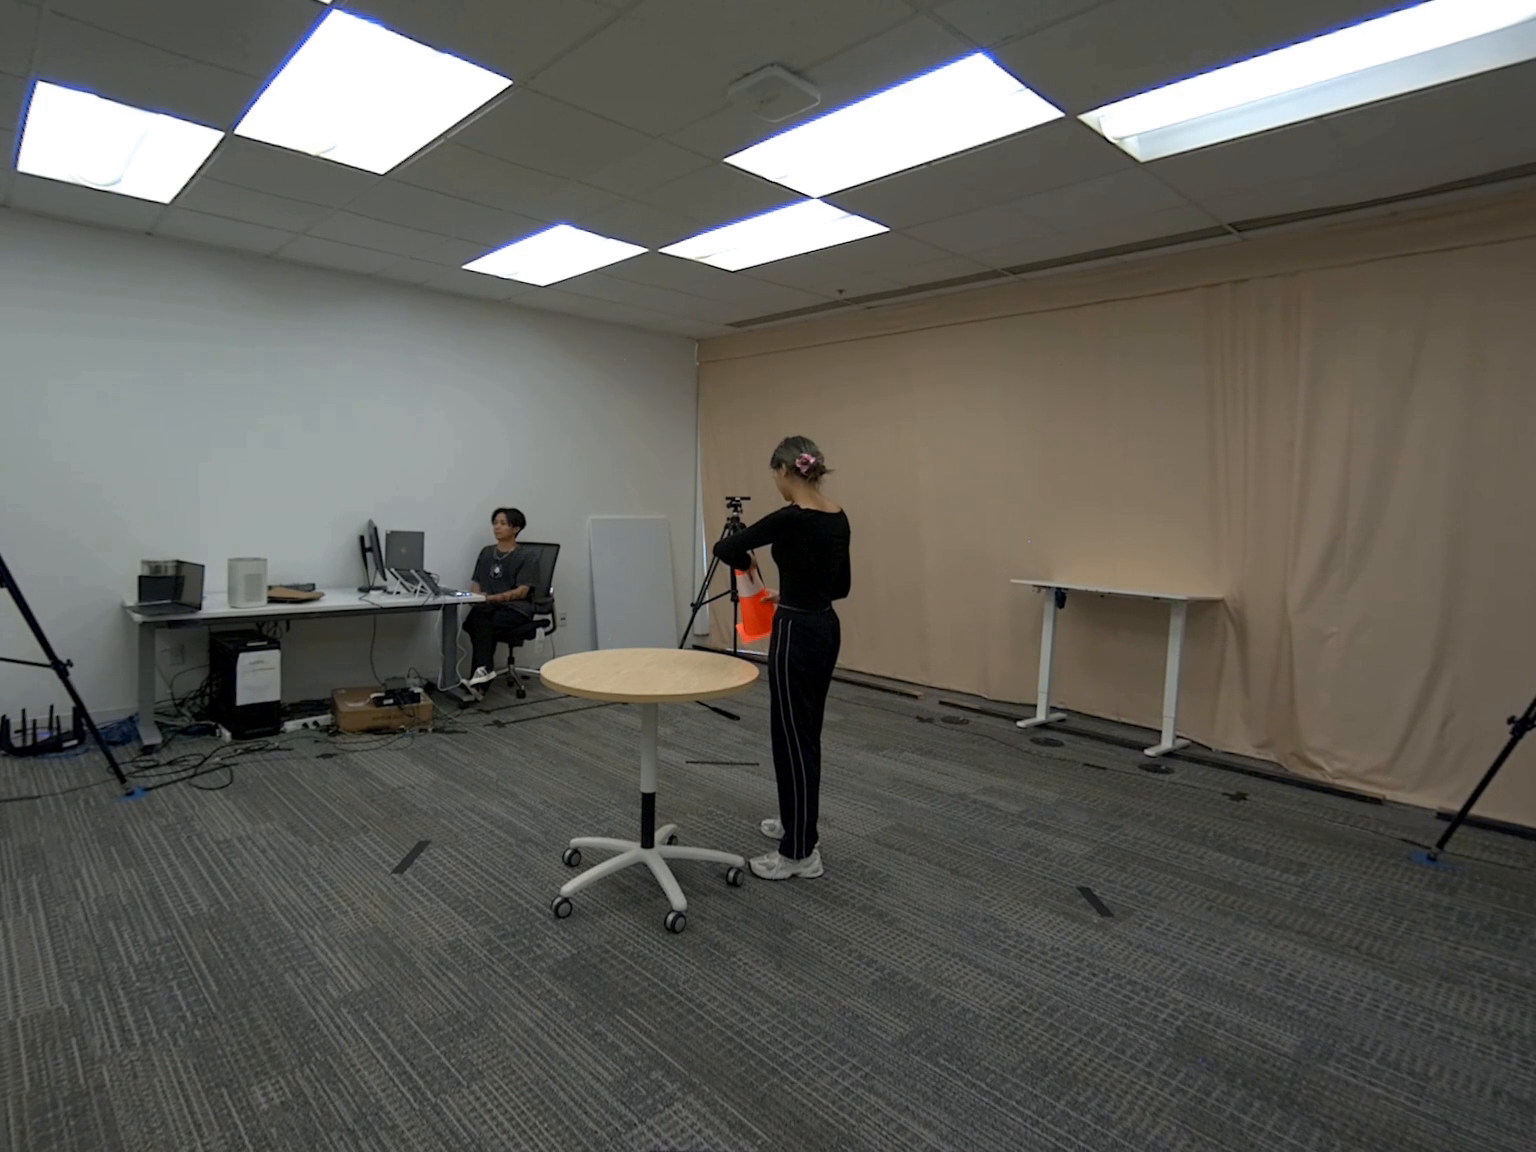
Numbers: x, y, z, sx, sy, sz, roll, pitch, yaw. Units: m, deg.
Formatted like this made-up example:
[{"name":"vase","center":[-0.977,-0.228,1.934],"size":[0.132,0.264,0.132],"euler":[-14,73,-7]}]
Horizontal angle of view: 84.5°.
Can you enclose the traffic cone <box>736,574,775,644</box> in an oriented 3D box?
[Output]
[{"name":"traffic cone","center":[-0.089,0.044,3.432],"size":[0.203,0.377,0.208],"euler":[-13,19,1]}]
